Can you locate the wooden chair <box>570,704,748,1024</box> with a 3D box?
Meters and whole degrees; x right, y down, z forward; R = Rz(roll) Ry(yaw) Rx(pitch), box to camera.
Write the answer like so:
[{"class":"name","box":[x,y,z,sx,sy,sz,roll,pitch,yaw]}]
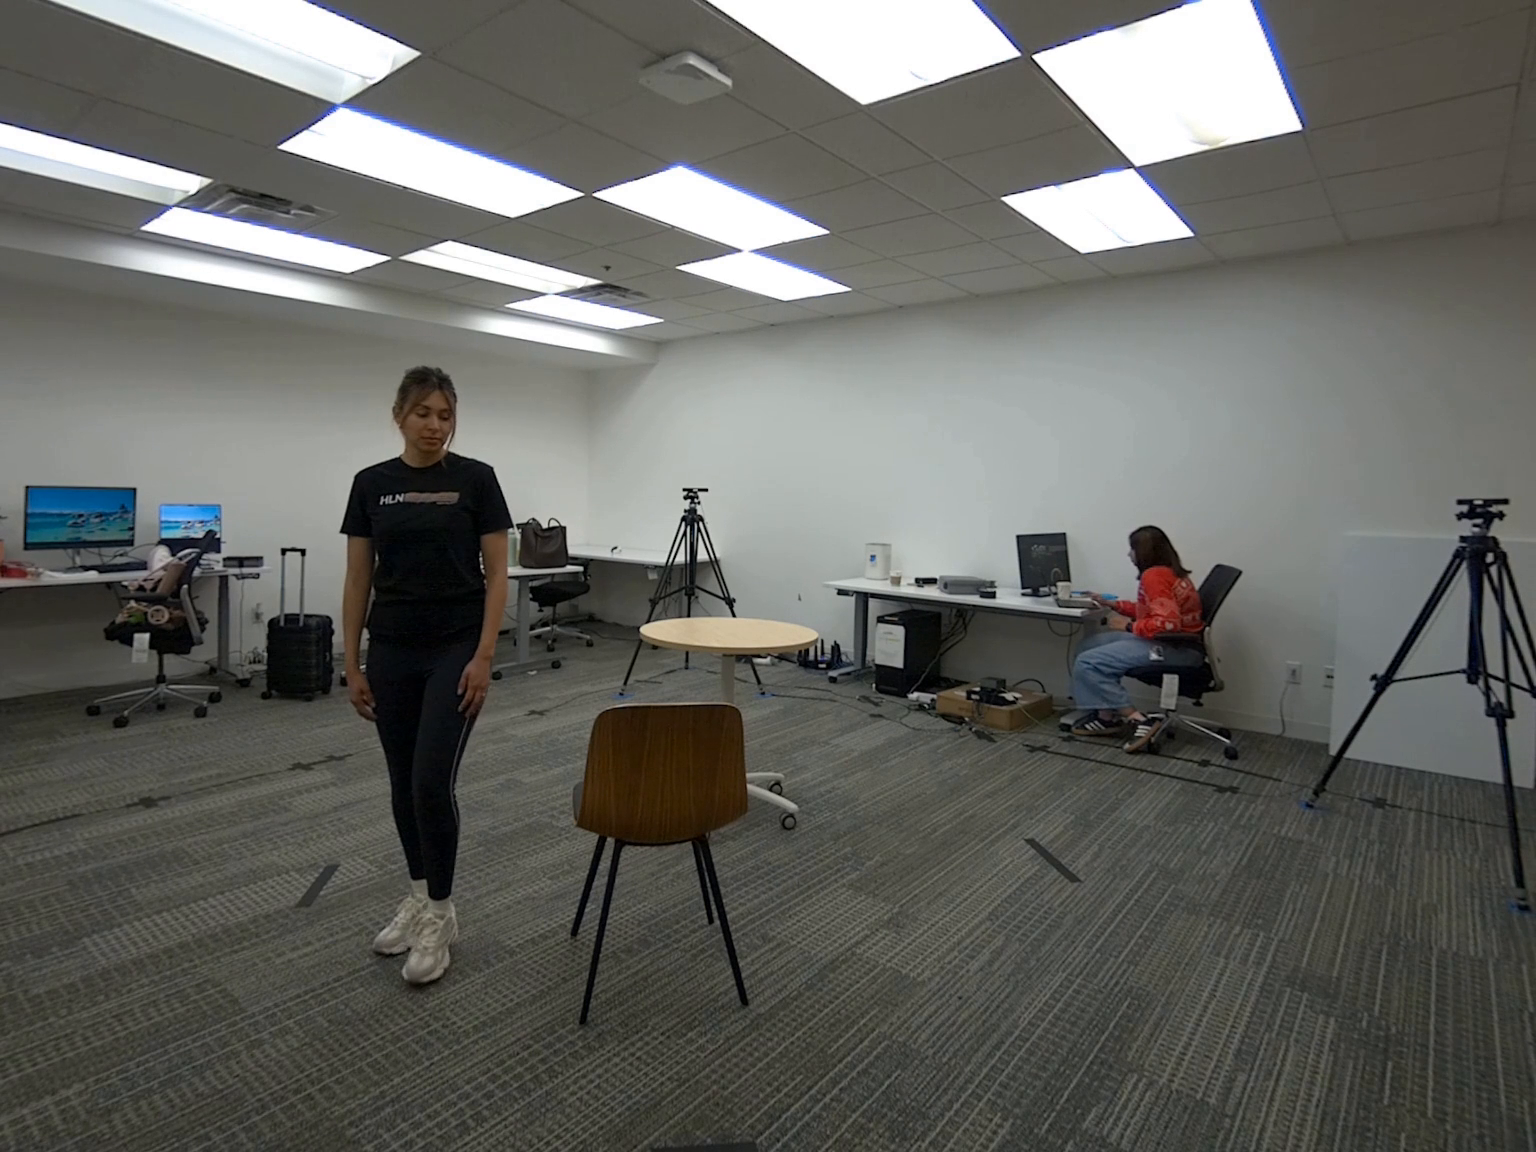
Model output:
[{"class":"wooden chair","box":[-0.336,0.708,2.435,0.471,0.872,0.534,0,7,-15]}]
